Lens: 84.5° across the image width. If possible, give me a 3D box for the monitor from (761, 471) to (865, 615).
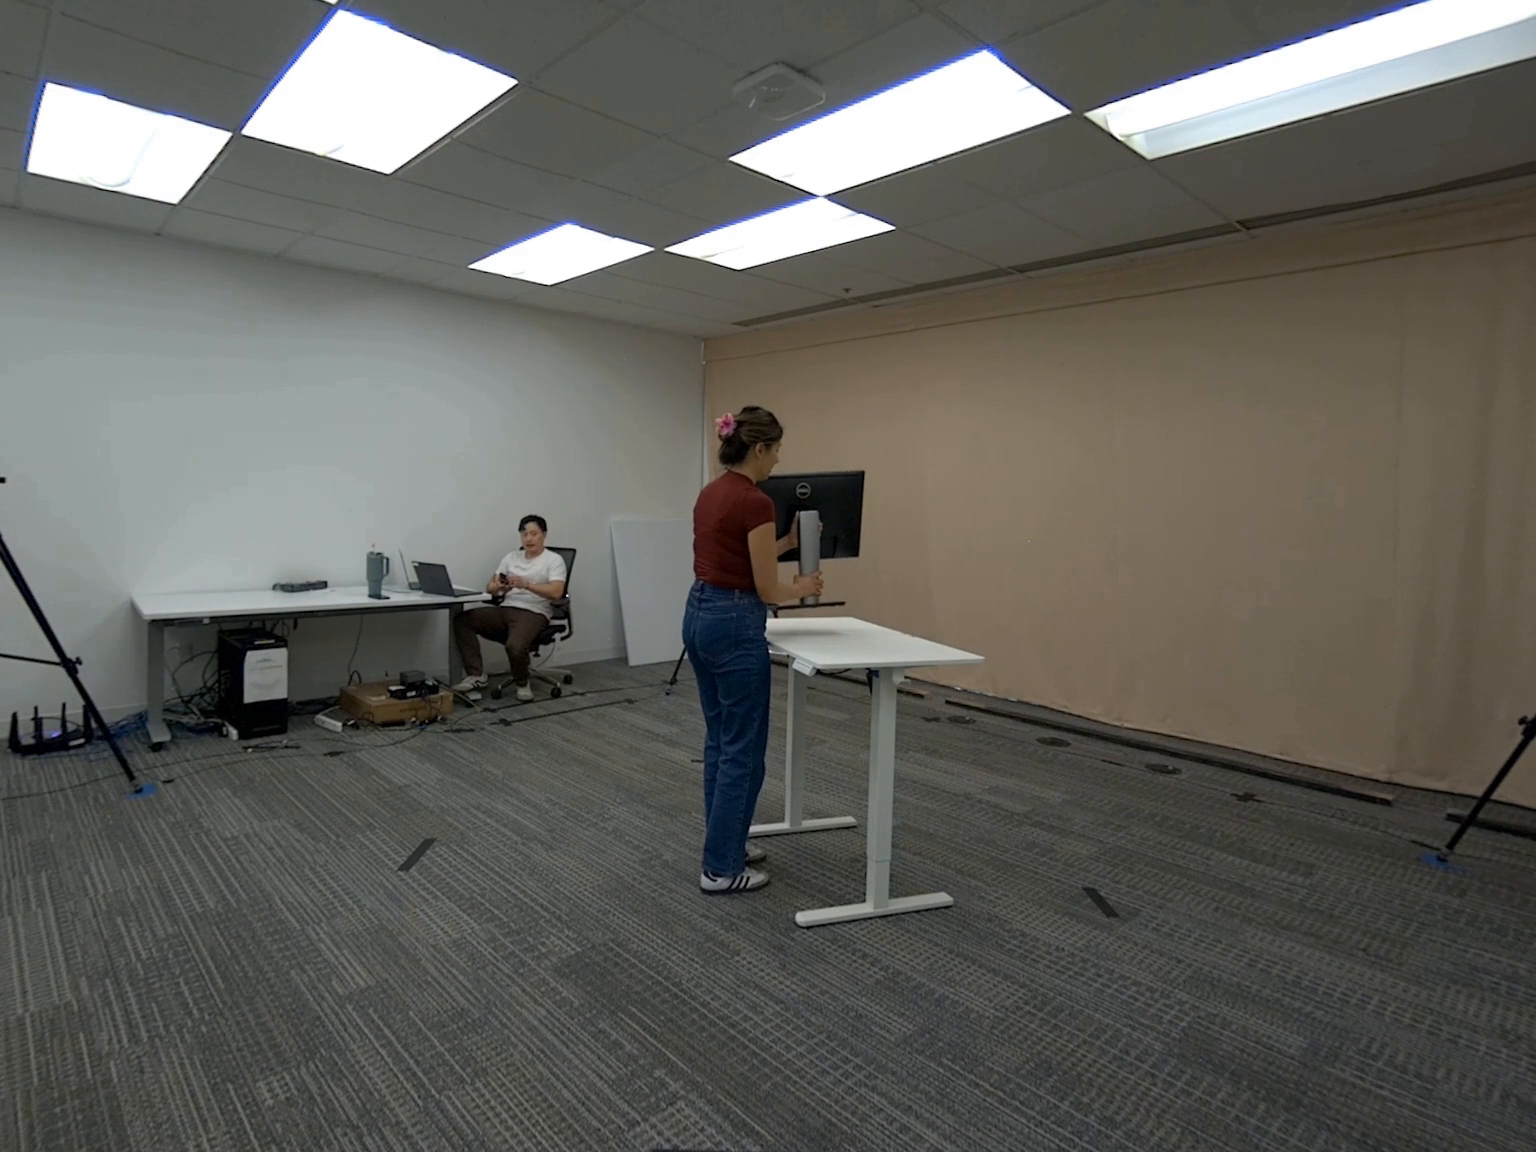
[{"bbox_3d":[0.137,-0.131,3.218,0.531,0.521,0.190,-5,4,-20],"label":"monitor"}]
